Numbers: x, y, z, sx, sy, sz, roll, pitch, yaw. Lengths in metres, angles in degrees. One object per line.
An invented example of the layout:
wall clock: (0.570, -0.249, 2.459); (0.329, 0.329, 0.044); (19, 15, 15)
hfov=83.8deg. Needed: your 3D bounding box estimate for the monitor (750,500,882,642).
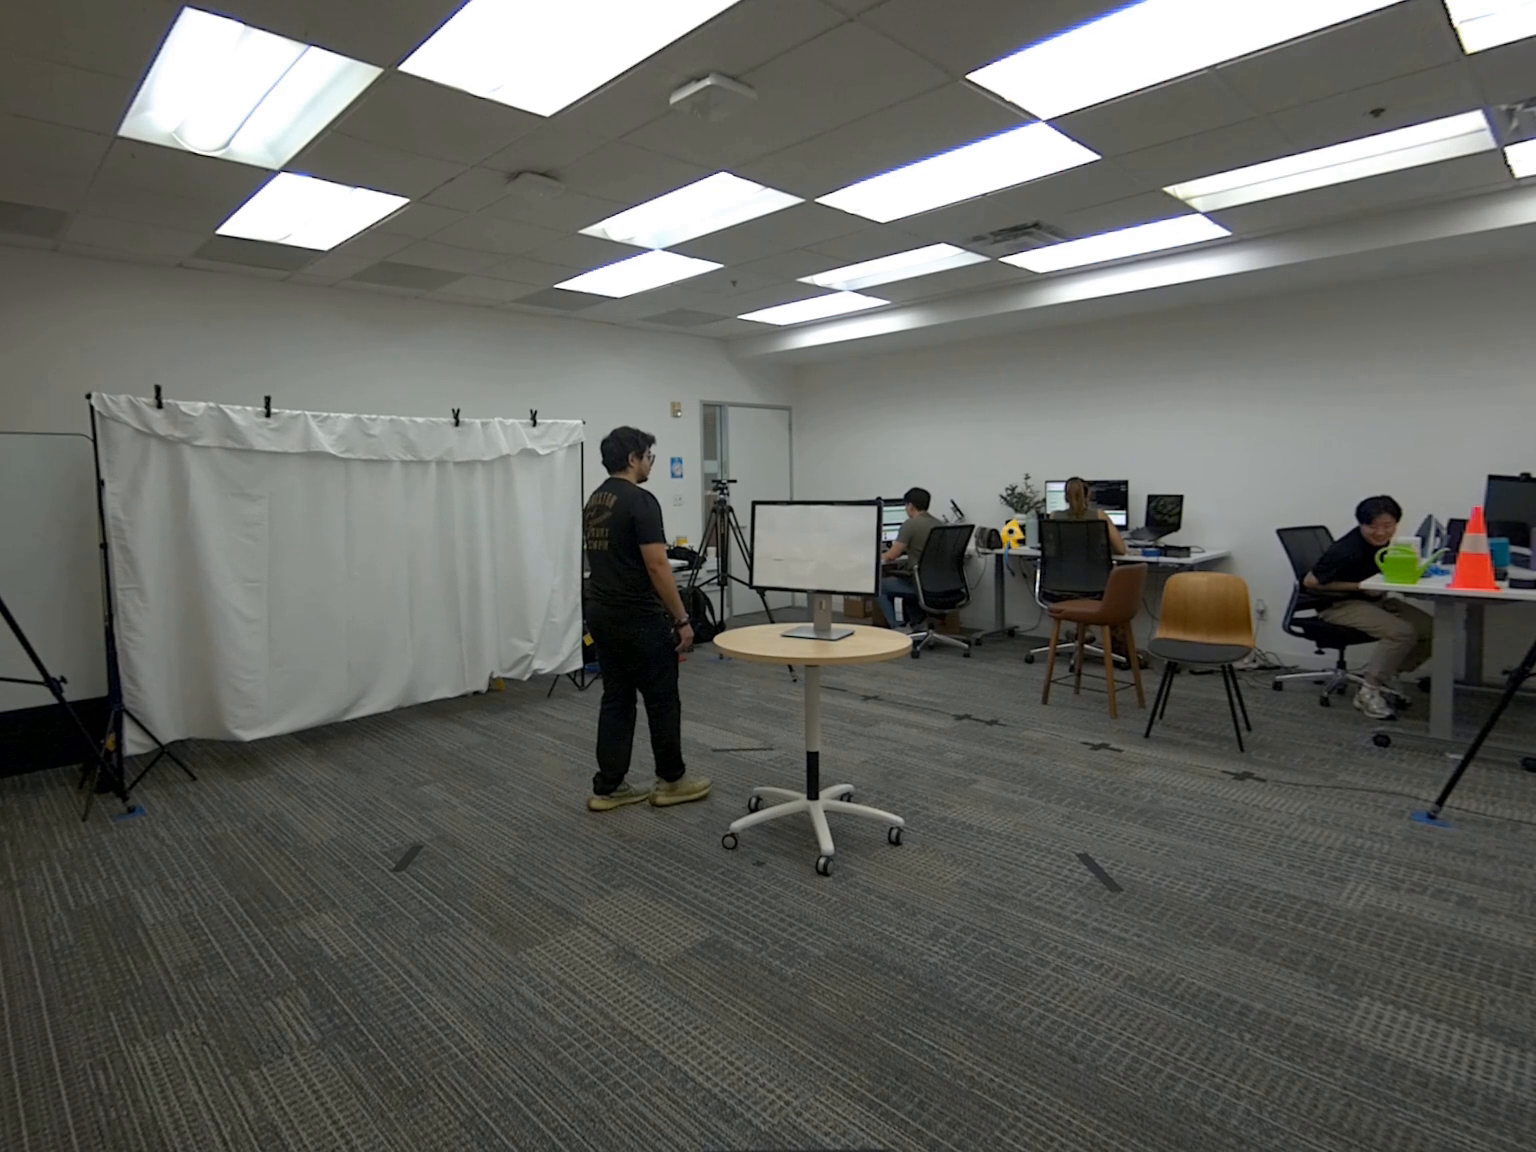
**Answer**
monitor: (0.213, -0.029, 3.412); (0.580, 0.553, 0.205); (2, 2, 30)
